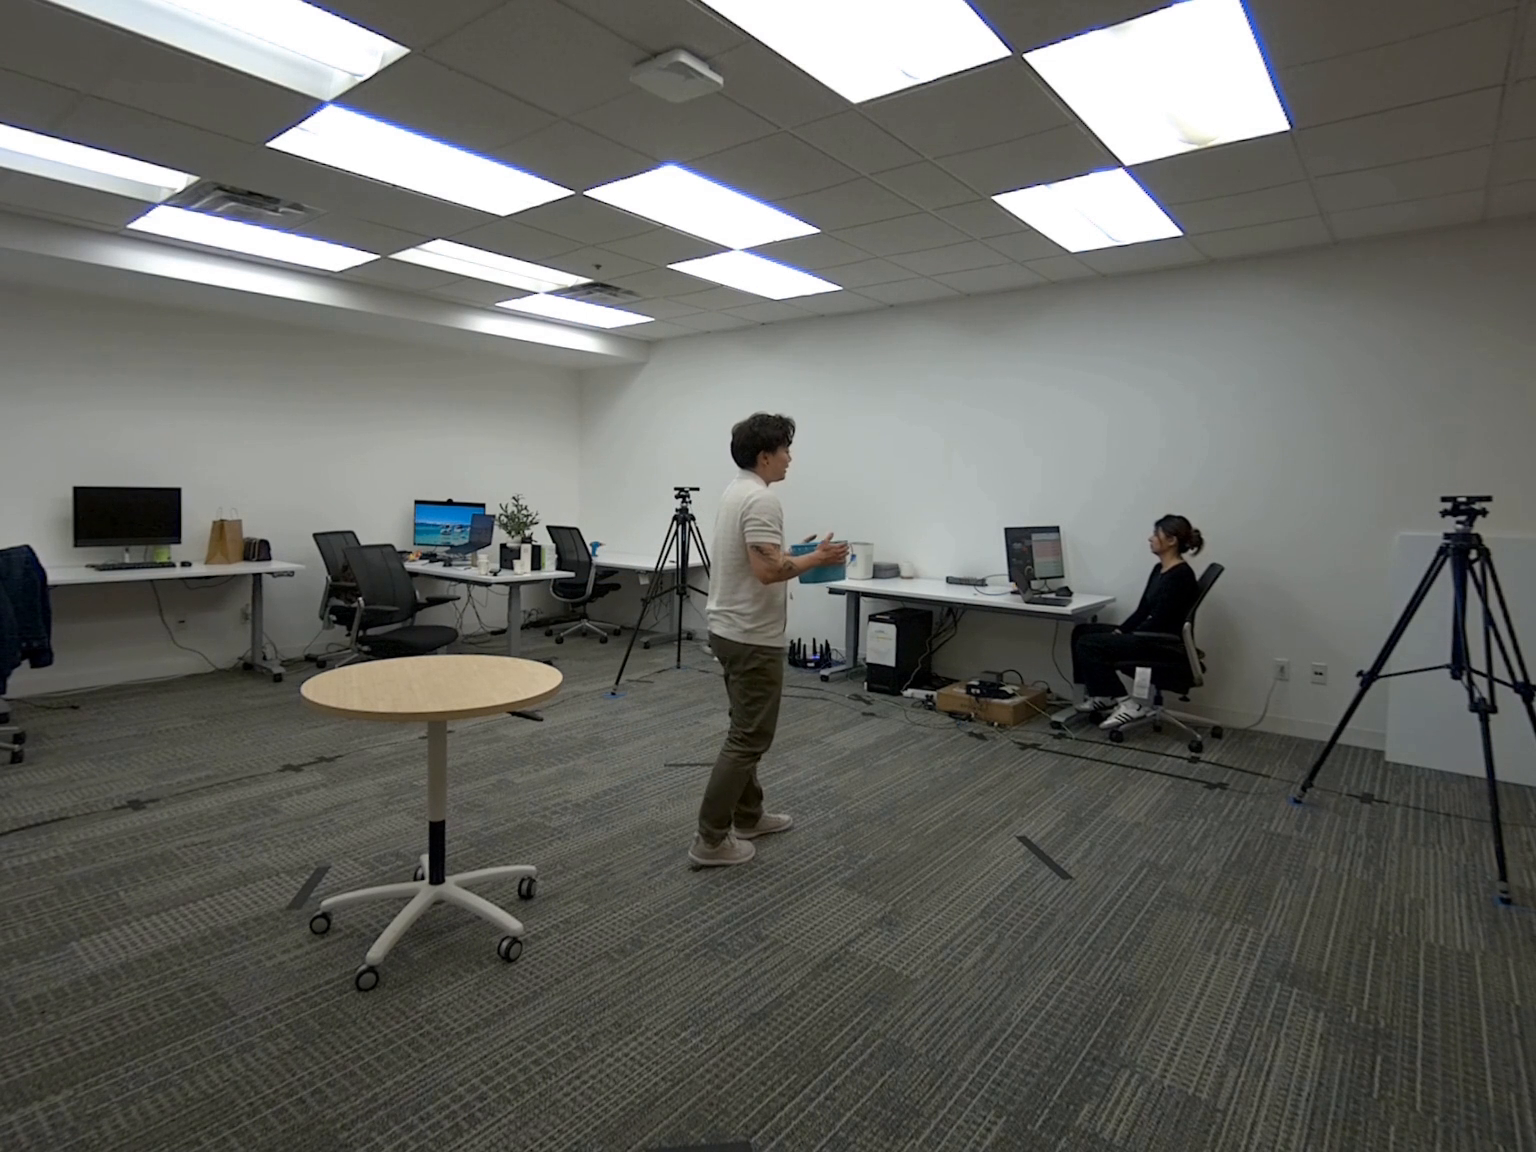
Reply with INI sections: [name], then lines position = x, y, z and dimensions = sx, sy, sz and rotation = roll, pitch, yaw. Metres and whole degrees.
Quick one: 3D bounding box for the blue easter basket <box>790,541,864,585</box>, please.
[blue easter basket]
position = 0.199, -0.050, 3.318
dimensions = 0.243, 0.156, 0.244
rotation = -4, 2, -2
